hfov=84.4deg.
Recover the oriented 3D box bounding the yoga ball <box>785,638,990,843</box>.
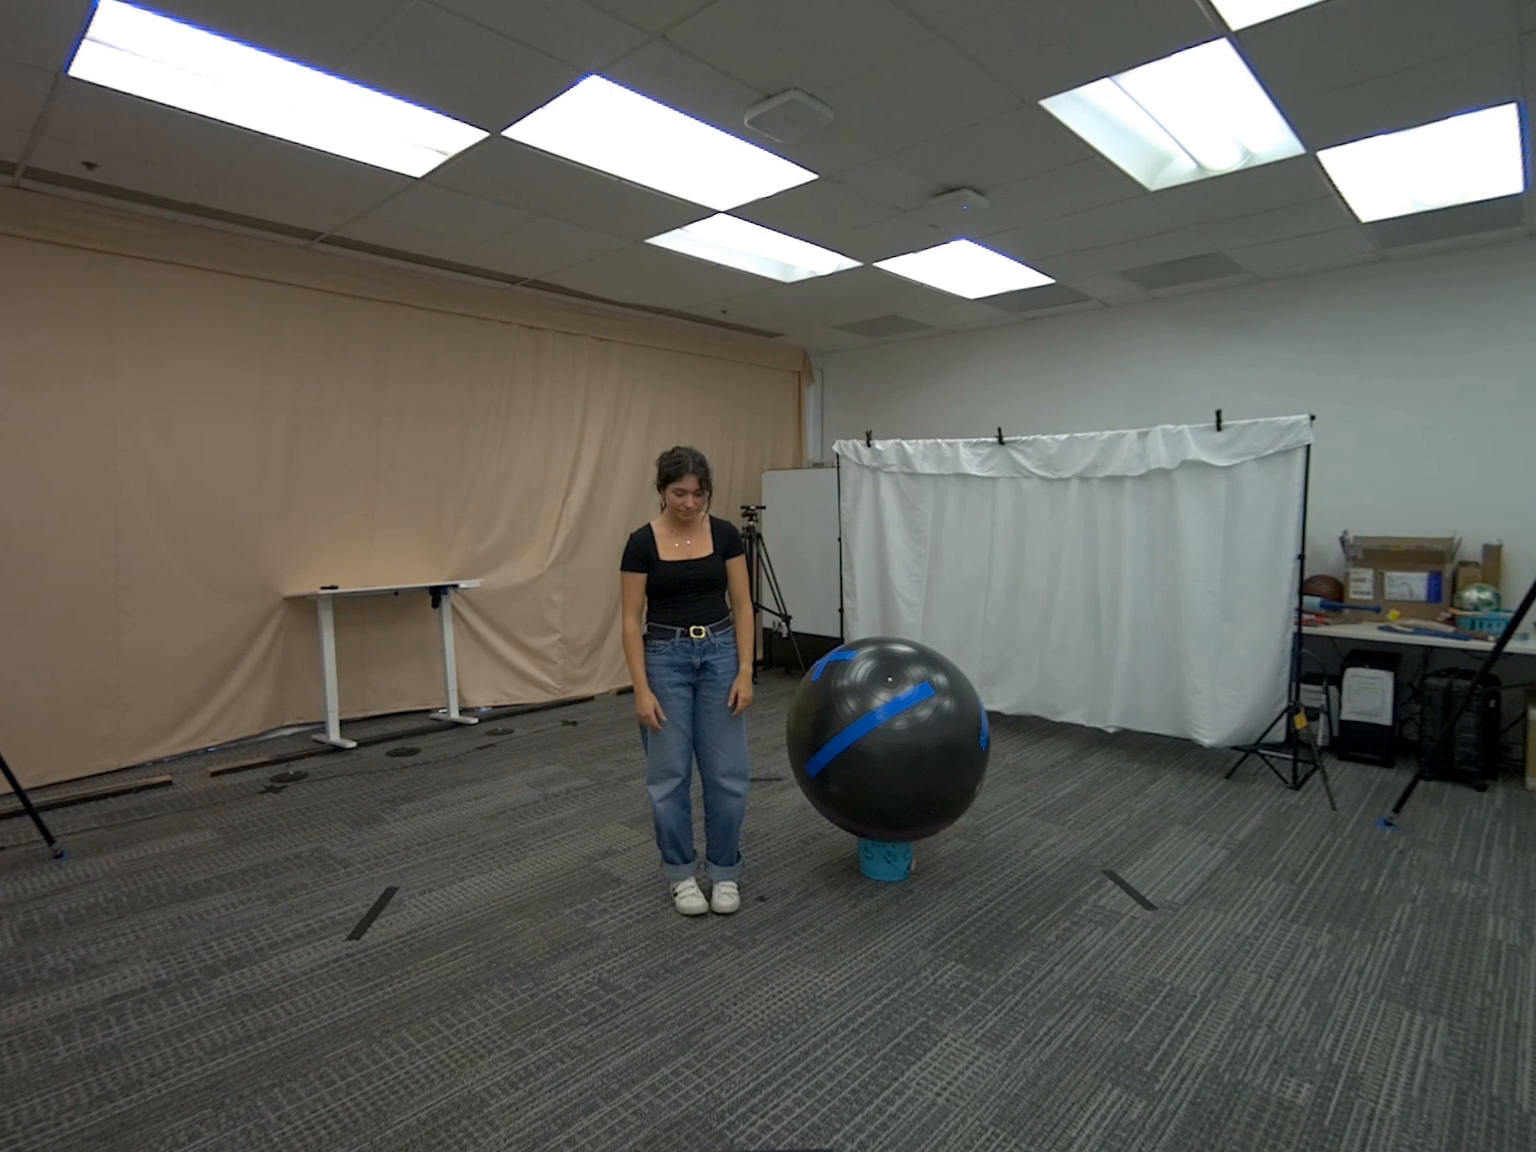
[{"bbox_3d":[0.455,0.611,3.192,0.757,0.756,0.760,0,4,-2],"label":"yoga ball"}]
